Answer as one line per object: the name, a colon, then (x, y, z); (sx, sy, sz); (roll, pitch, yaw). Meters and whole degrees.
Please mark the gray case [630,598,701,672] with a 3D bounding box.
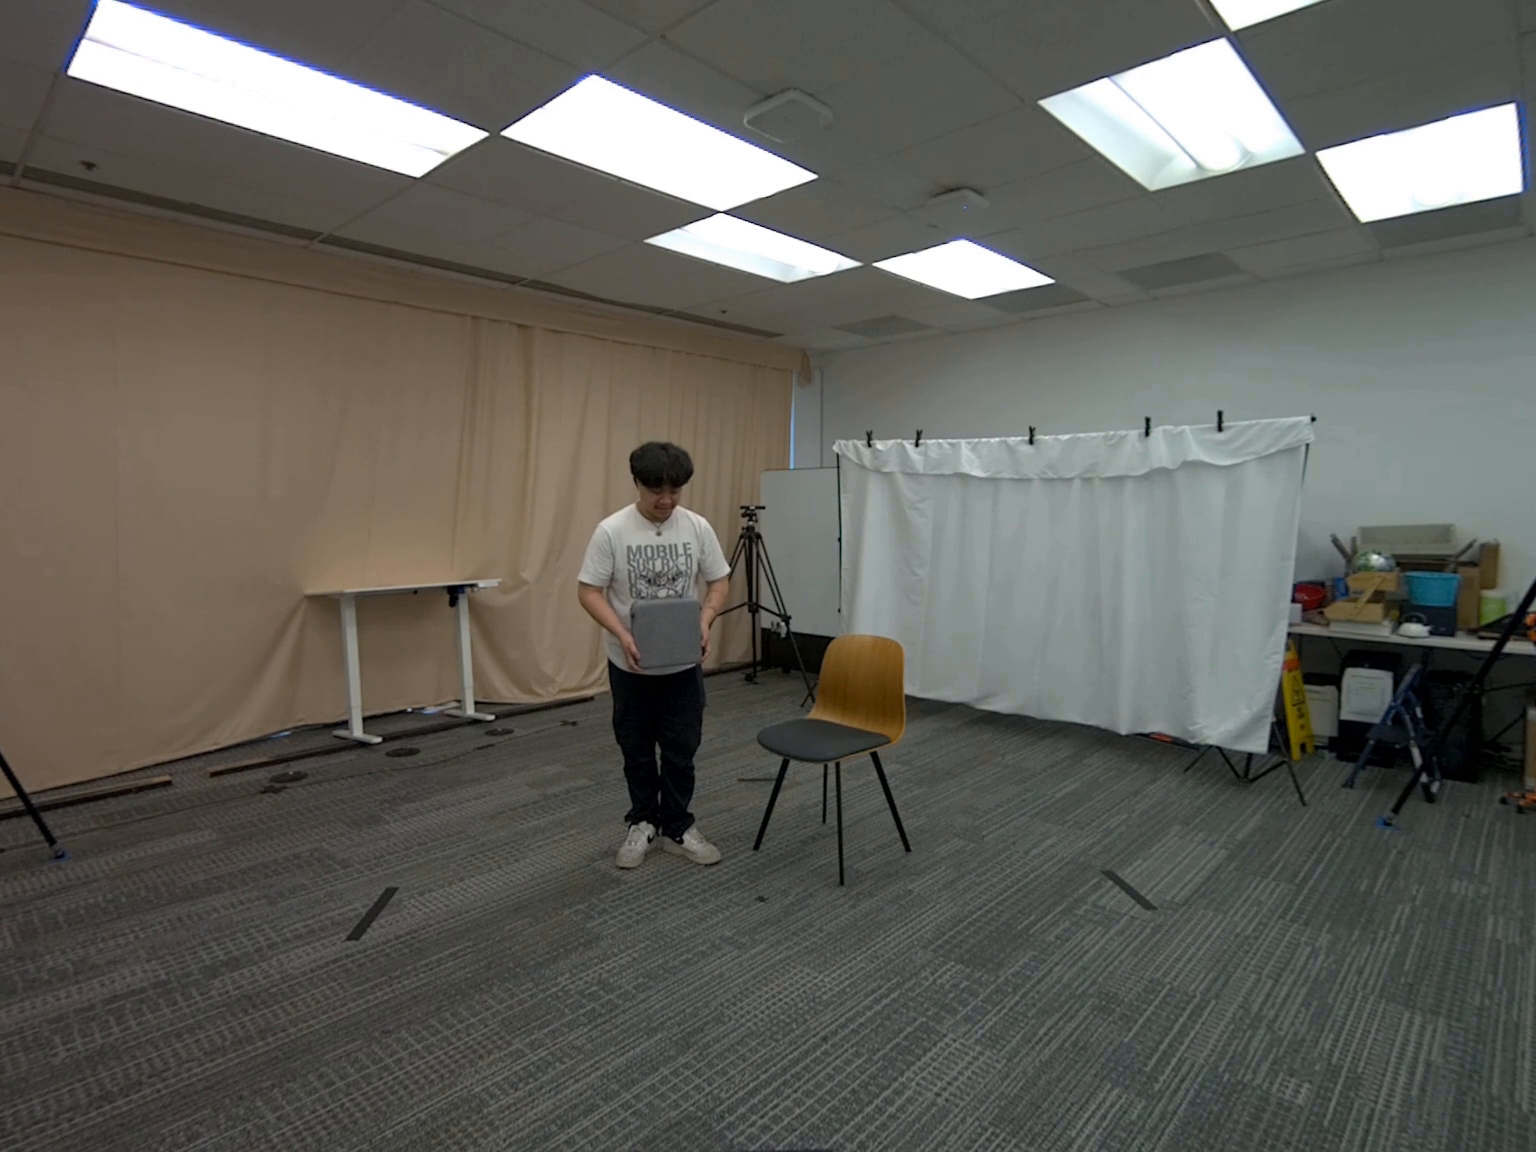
gray case: (-0.377, 0.200, 3.115); (0.252, 0.260, 0.107); (-5, 4, -22)
